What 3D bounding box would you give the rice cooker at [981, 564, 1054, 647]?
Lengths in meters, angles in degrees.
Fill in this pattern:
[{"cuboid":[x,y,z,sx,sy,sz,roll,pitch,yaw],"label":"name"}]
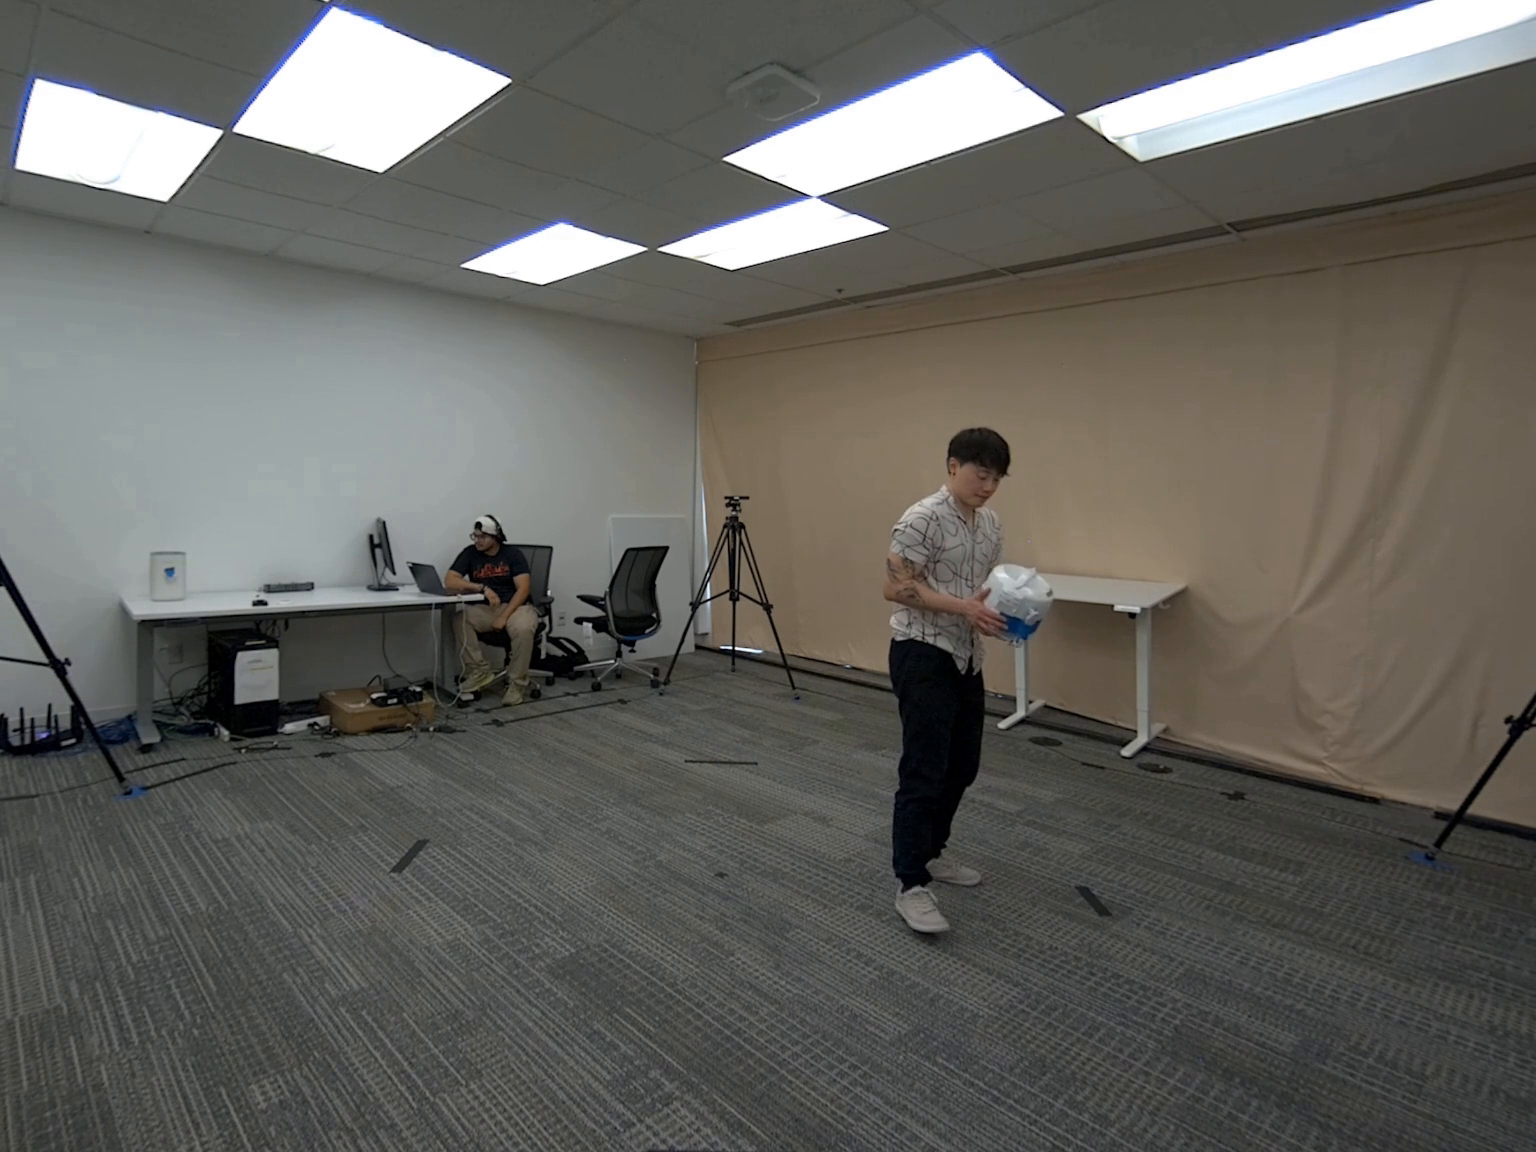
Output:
[{"cuboid":[0.794,0.079,2.768,0.223,0.230,0.217,37,31,25],"label":"rice cooker"}]
